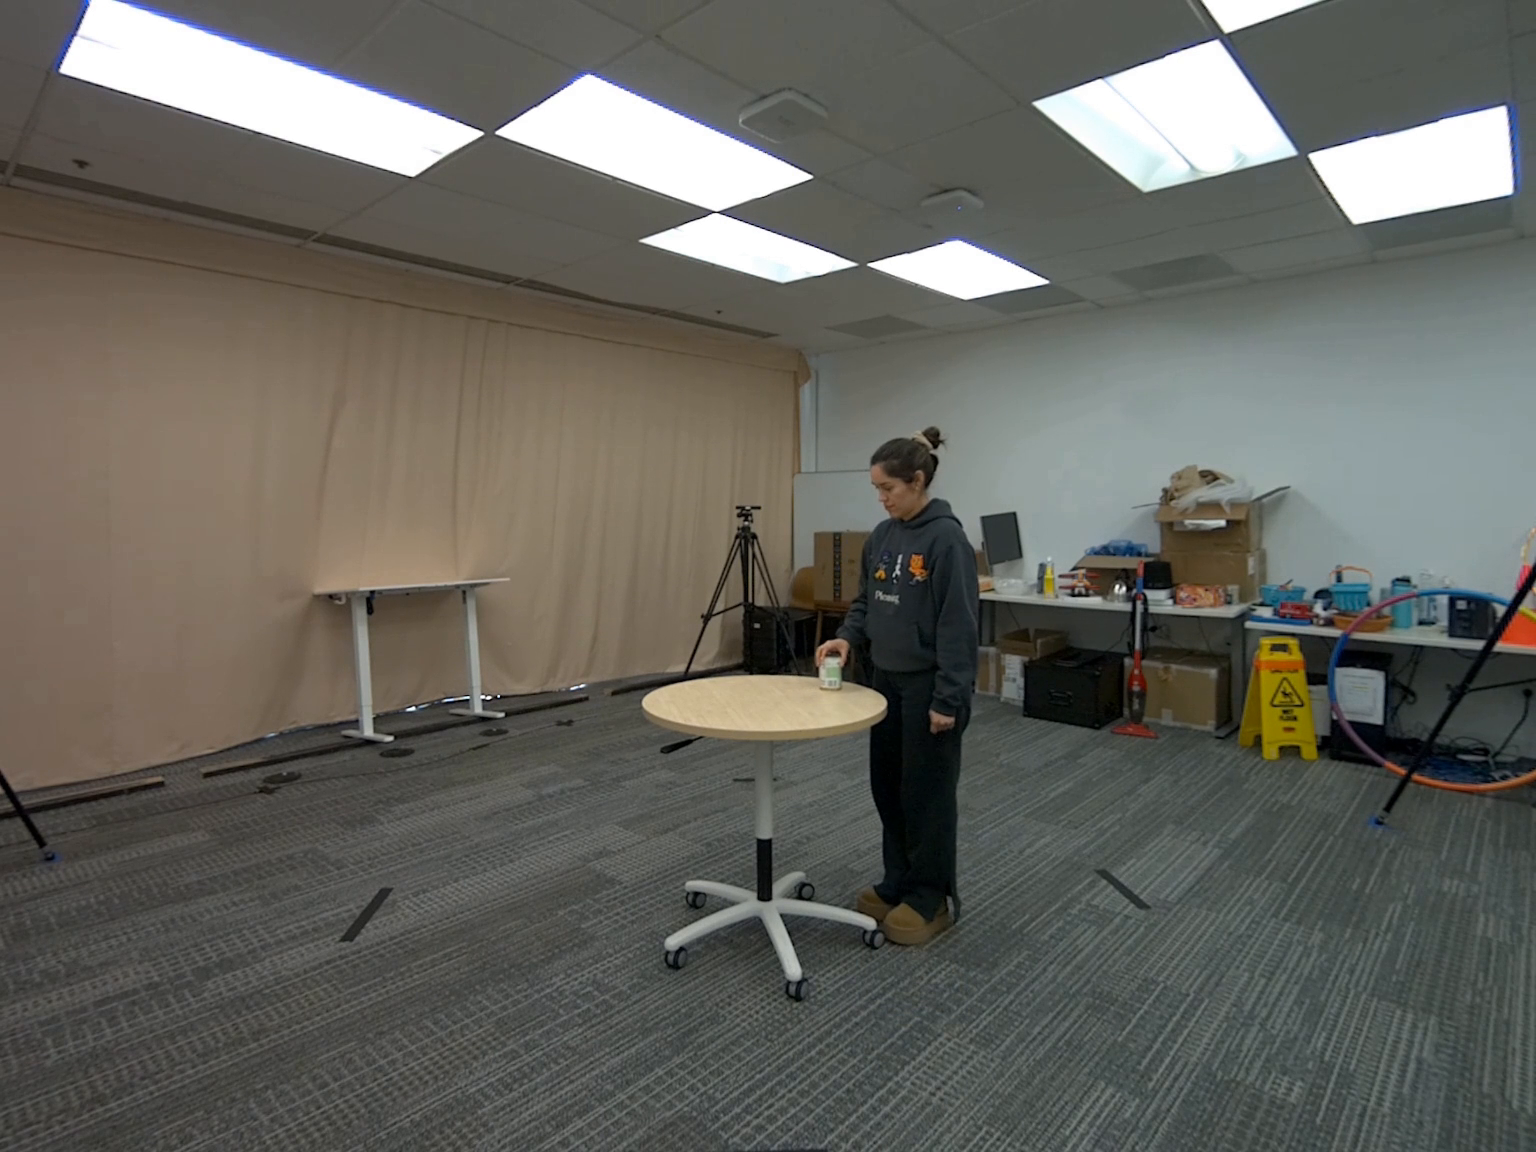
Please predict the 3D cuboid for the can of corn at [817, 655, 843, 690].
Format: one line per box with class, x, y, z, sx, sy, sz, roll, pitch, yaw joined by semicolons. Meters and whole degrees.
can of corn;0.213;0.317;2.790;0.074;0.111;0.074;4;3;-2
